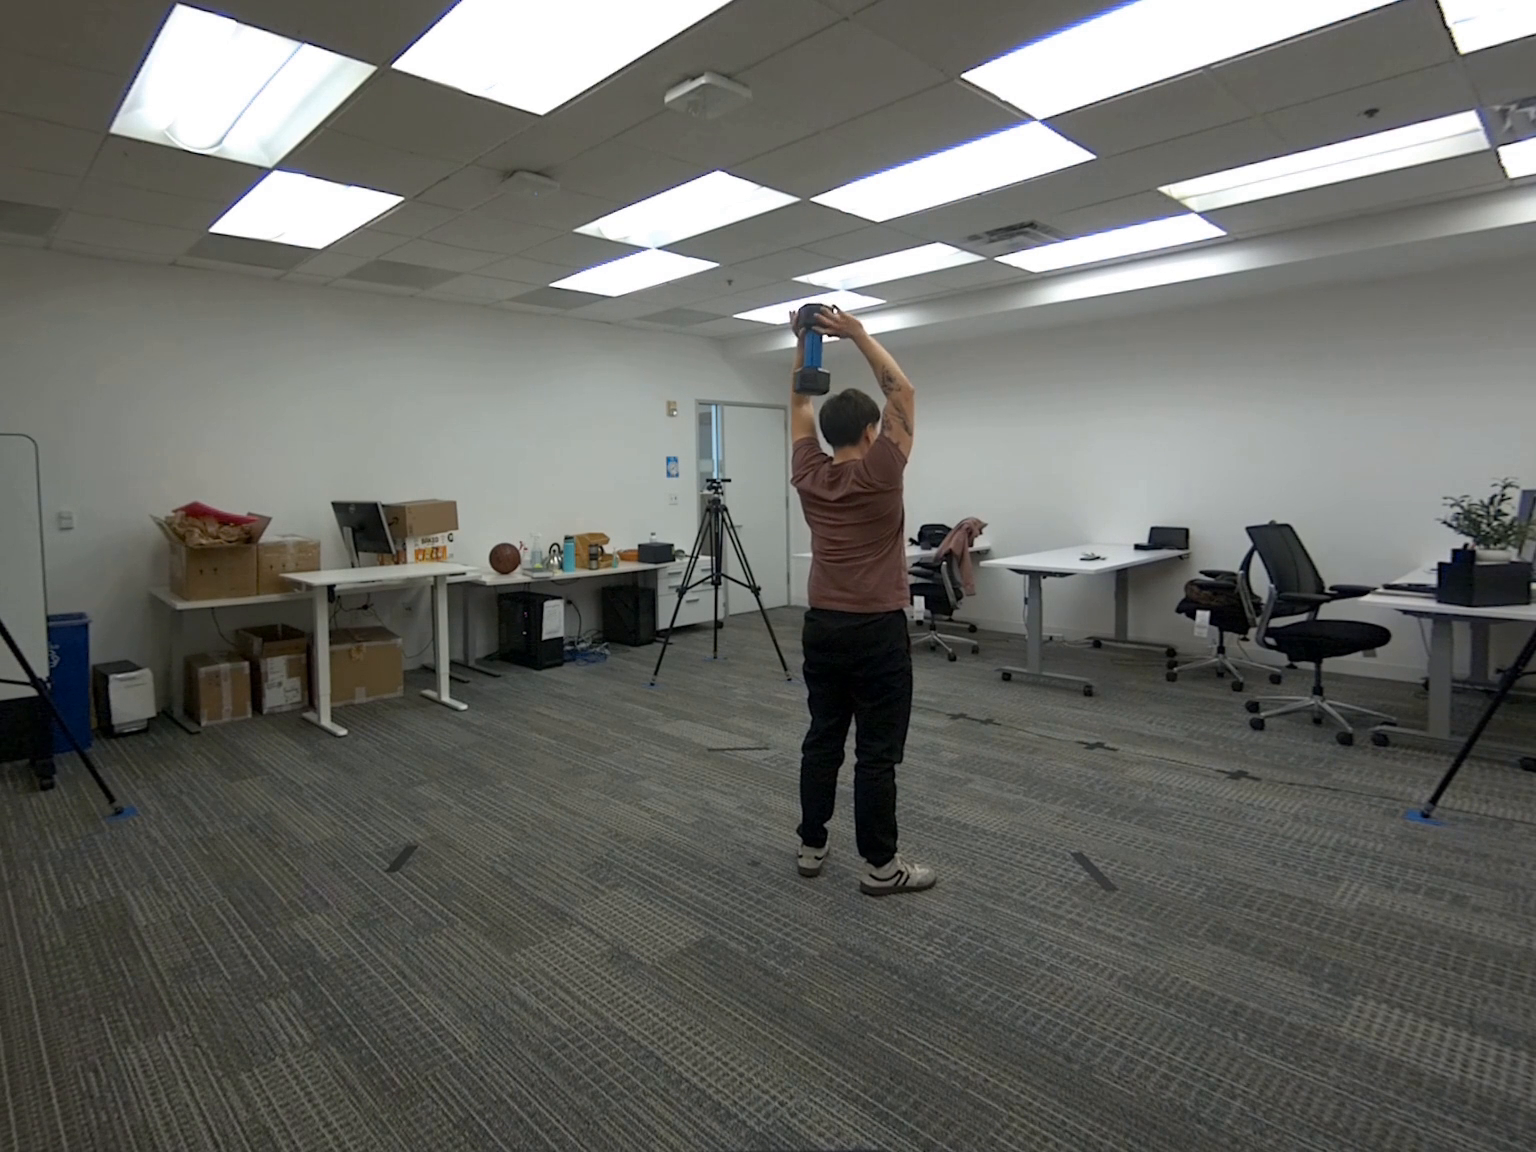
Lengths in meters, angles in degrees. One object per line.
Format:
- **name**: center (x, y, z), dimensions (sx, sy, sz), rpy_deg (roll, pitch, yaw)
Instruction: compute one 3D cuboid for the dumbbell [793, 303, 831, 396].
- **dumbbell**: center (0.155, -0.742, 2.810), dimensions (0.112, 0.294, 0.119), rpy_deg (3, -1, 45)
